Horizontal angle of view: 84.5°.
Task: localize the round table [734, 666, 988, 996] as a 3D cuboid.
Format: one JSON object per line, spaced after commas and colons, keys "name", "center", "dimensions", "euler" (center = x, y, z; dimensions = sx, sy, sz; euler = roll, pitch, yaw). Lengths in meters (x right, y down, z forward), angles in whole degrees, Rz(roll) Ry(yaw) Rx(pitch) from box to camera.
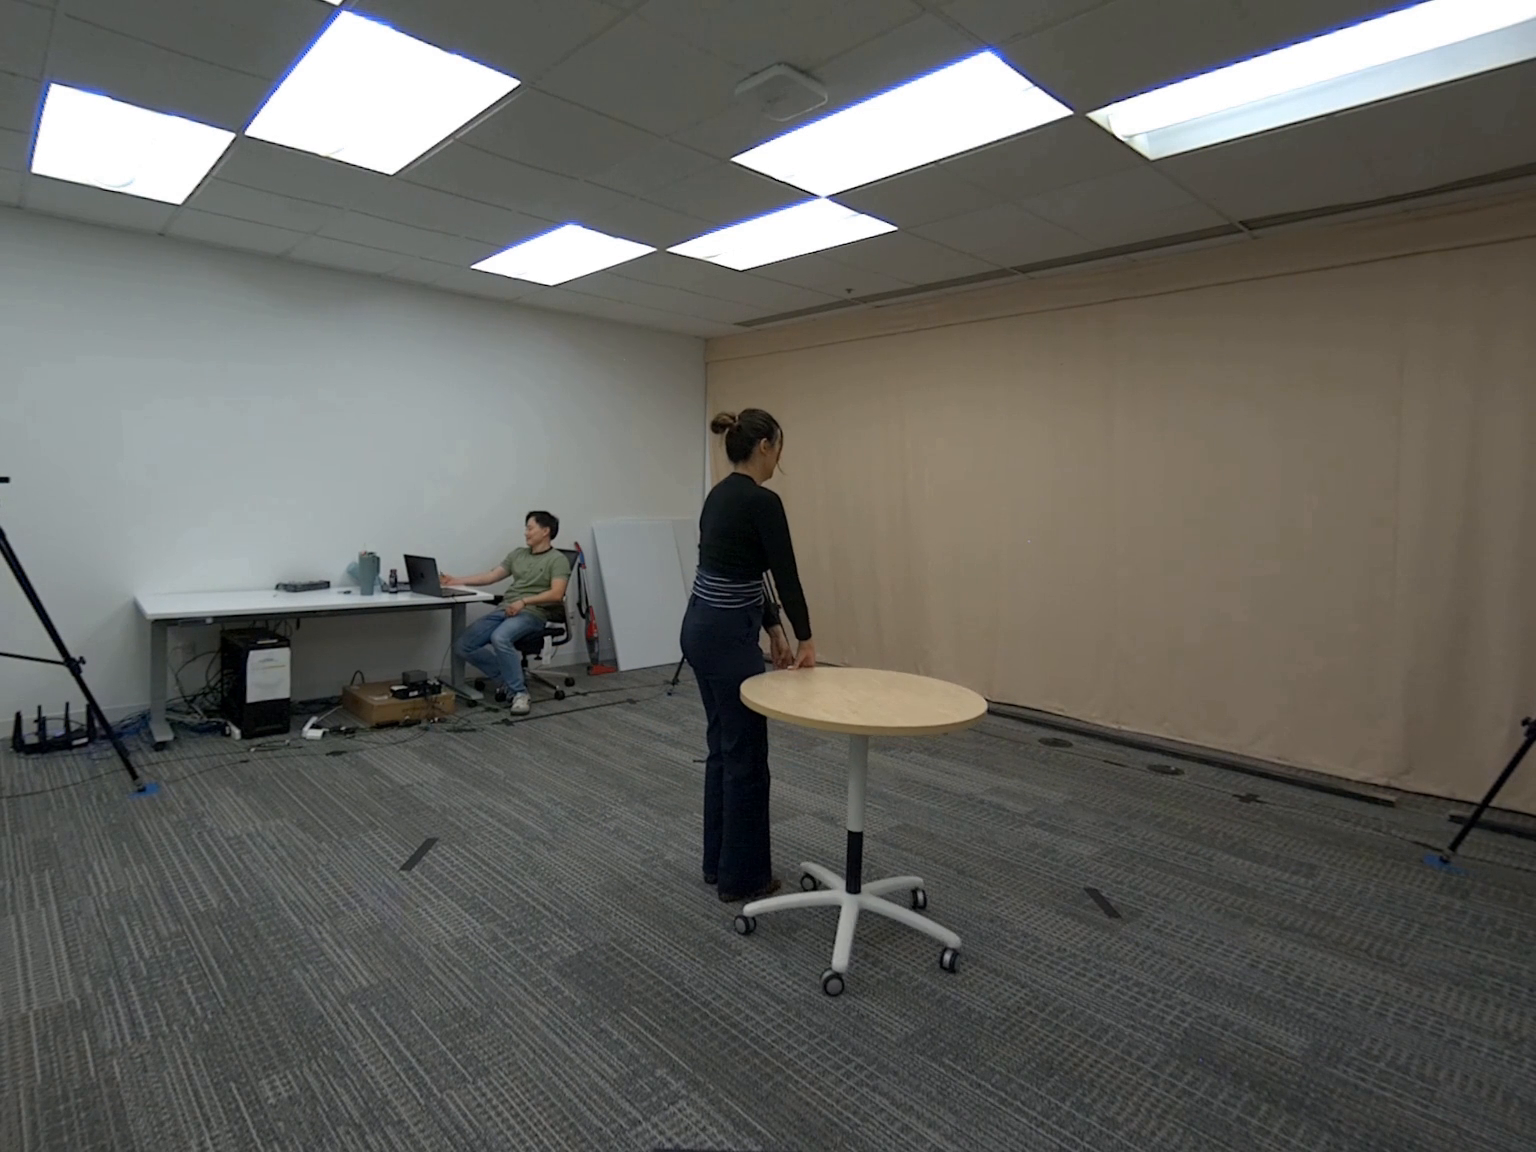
{"name": "round table", "center": [0.271, 0.763, 2.676], "dimensions": [0.763, 0.791, 0.767], "euler": [2, 5, -2]}
